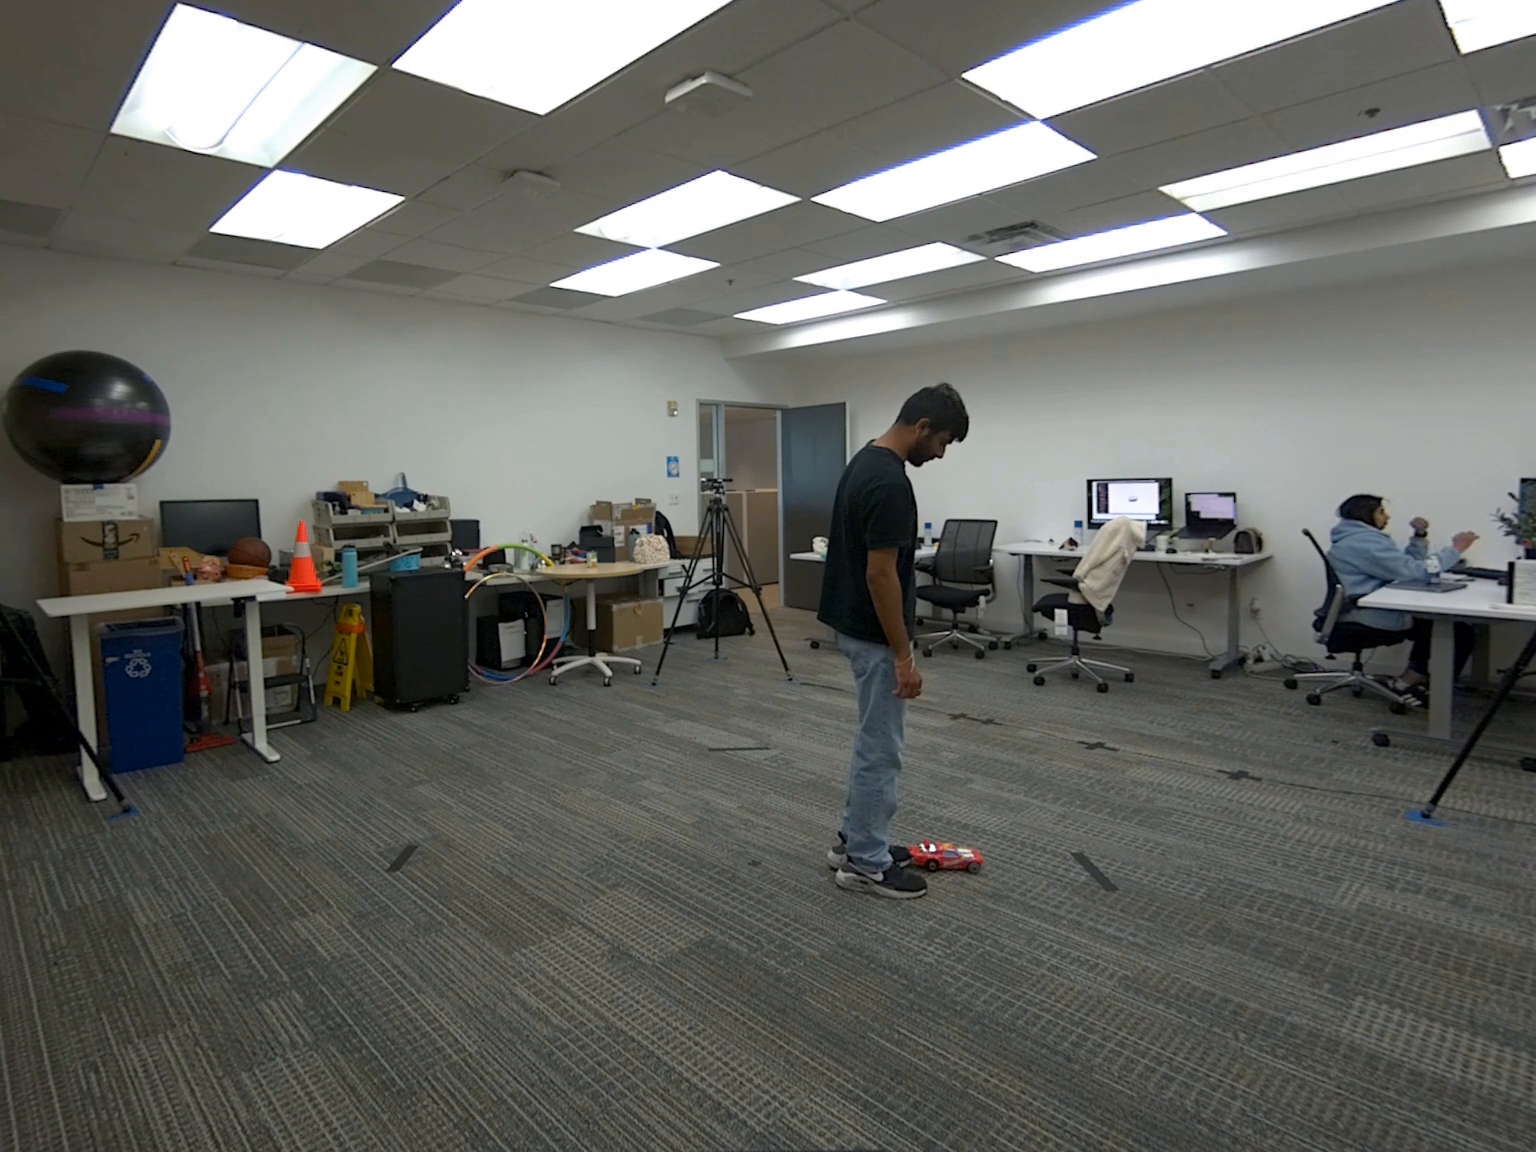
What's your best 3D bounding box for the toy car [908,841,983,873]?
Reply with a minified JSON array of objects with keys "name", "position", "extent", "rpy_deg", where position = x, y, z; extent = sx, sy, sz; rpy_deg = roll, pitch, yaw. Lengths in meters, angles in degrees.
[{"name":"toy car","position":[0.627,0.998,3.045],"extent":[0.255,0.083,0.130],"rpy_deg":[12,6,2]}]
